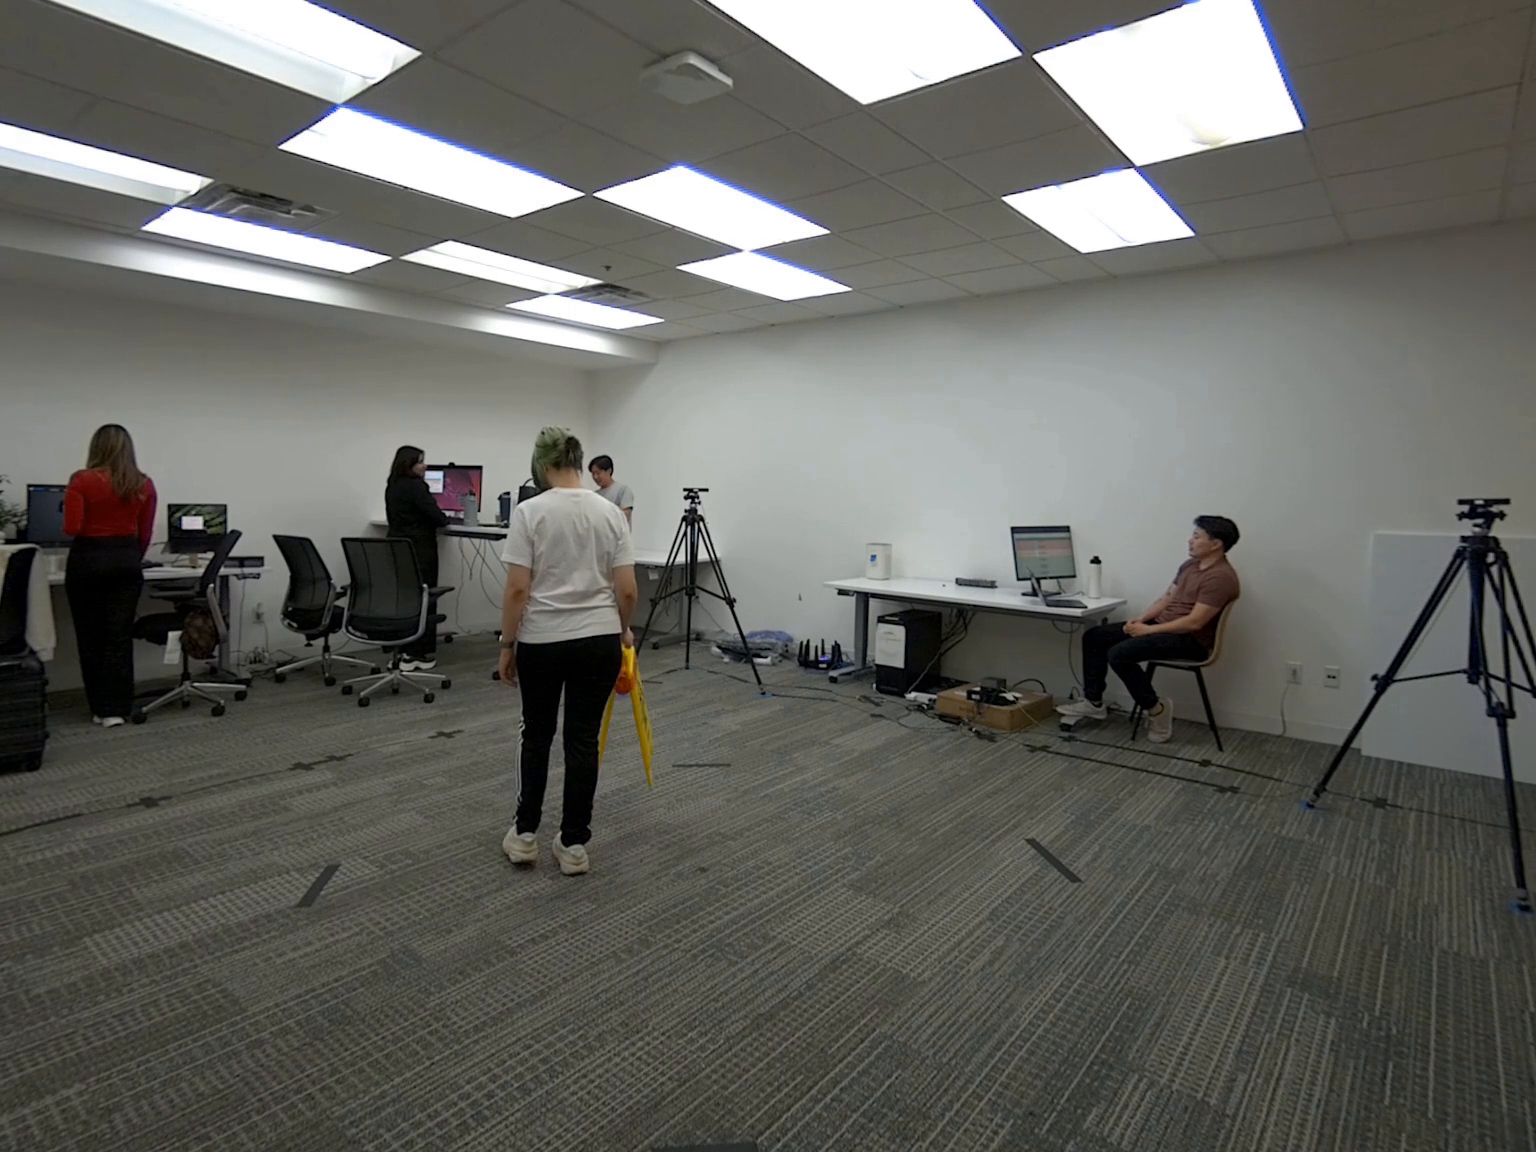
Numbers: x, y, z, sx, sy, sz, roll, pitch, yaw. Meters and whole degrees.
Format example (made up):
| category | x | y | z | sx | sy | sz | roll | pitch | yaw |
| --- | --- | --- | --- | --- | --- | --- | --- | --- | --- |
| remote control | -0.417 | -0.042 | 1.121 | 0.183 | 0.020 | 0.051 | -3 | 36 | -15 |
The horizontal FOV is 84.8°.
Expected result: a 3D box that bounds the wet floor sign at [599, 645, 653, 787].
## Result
| category | x | y | z | sx | sy | sz | roll | pitch | yaw |
| --- | --- | --- | --- | --- | --- | --- | --- | --- | --- |
| wet floor sign | -0.600 | 0.517 | 3.457 | 0.287 | 0.634 | 0.290 | 2 | 24 | -8 |
